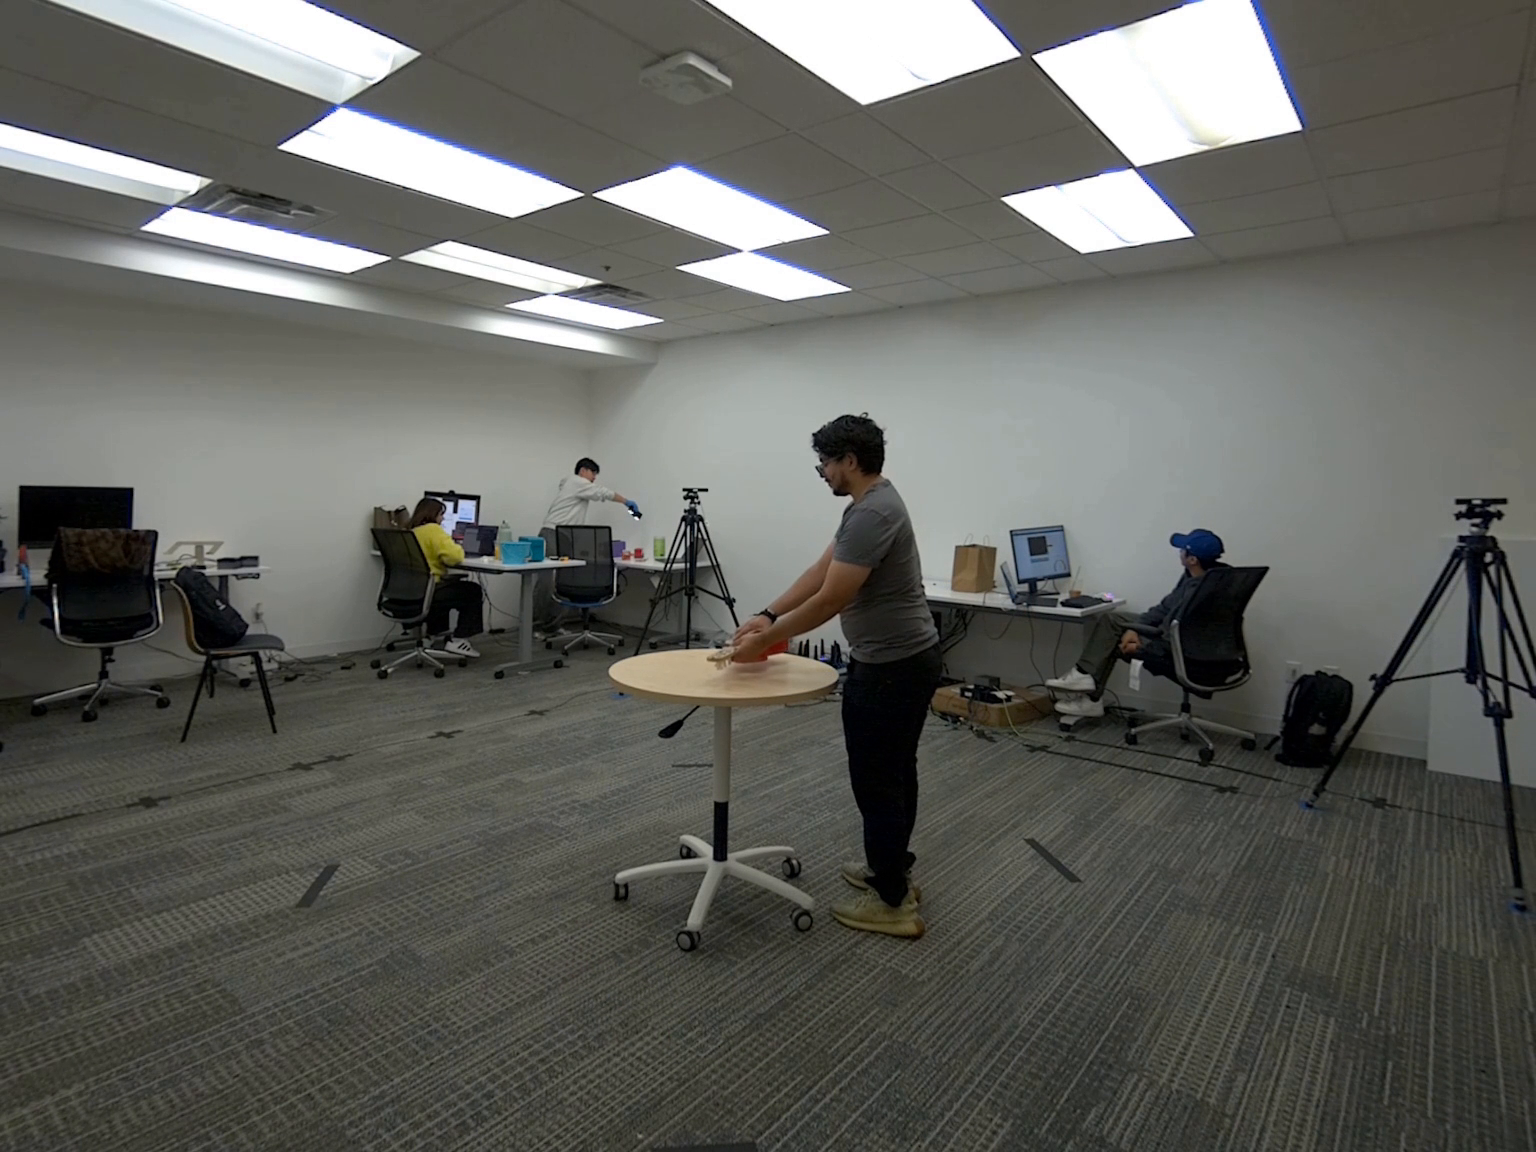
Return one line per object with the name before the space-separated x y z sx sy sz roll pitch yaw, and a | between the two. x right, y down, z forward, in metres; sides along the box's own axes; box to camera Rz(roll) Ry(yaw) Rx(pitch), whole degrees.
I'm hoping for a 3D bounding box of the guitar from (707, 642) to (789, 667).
guitar | -0.114 0.243 2.859 0.199 0.070 0.486 4 8 30
